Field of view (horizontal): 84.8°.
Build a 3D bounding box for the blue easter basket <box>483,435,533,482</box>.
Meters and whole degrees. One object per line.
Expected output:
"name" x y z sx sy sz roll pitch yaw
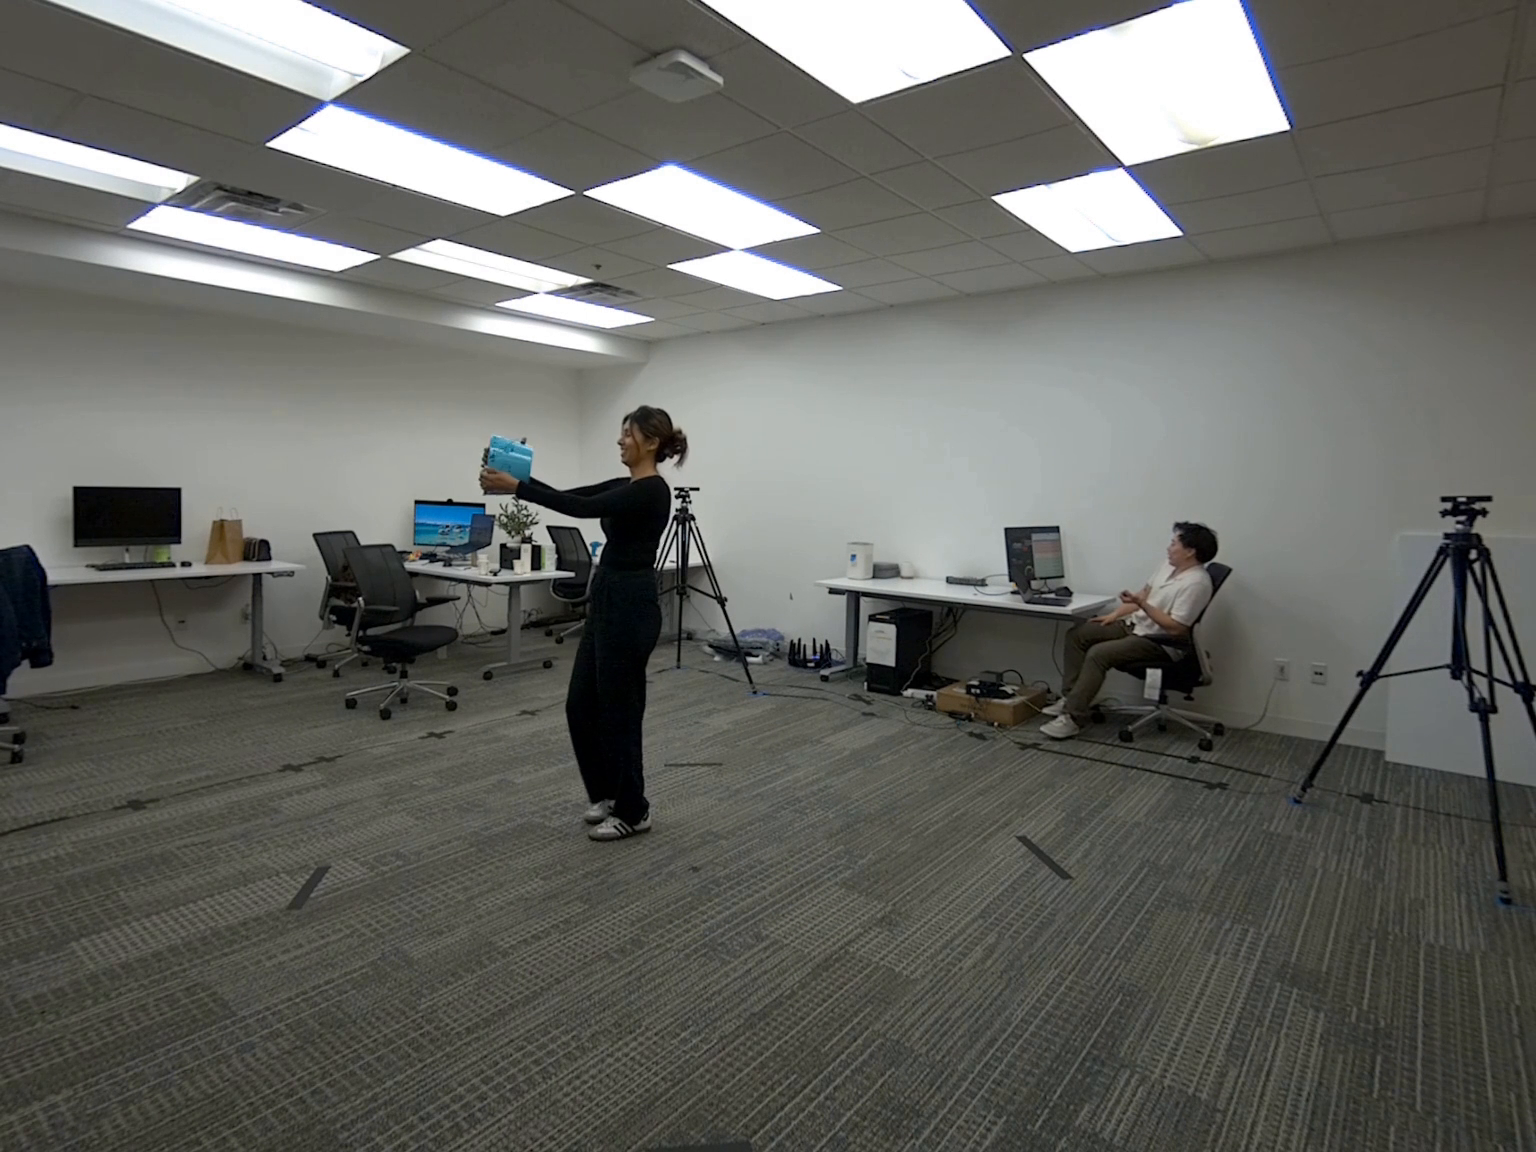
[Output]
"blue easter basket" -0.975 -0.401 3.129 0.152 0.243 0.249 4 3 -22
